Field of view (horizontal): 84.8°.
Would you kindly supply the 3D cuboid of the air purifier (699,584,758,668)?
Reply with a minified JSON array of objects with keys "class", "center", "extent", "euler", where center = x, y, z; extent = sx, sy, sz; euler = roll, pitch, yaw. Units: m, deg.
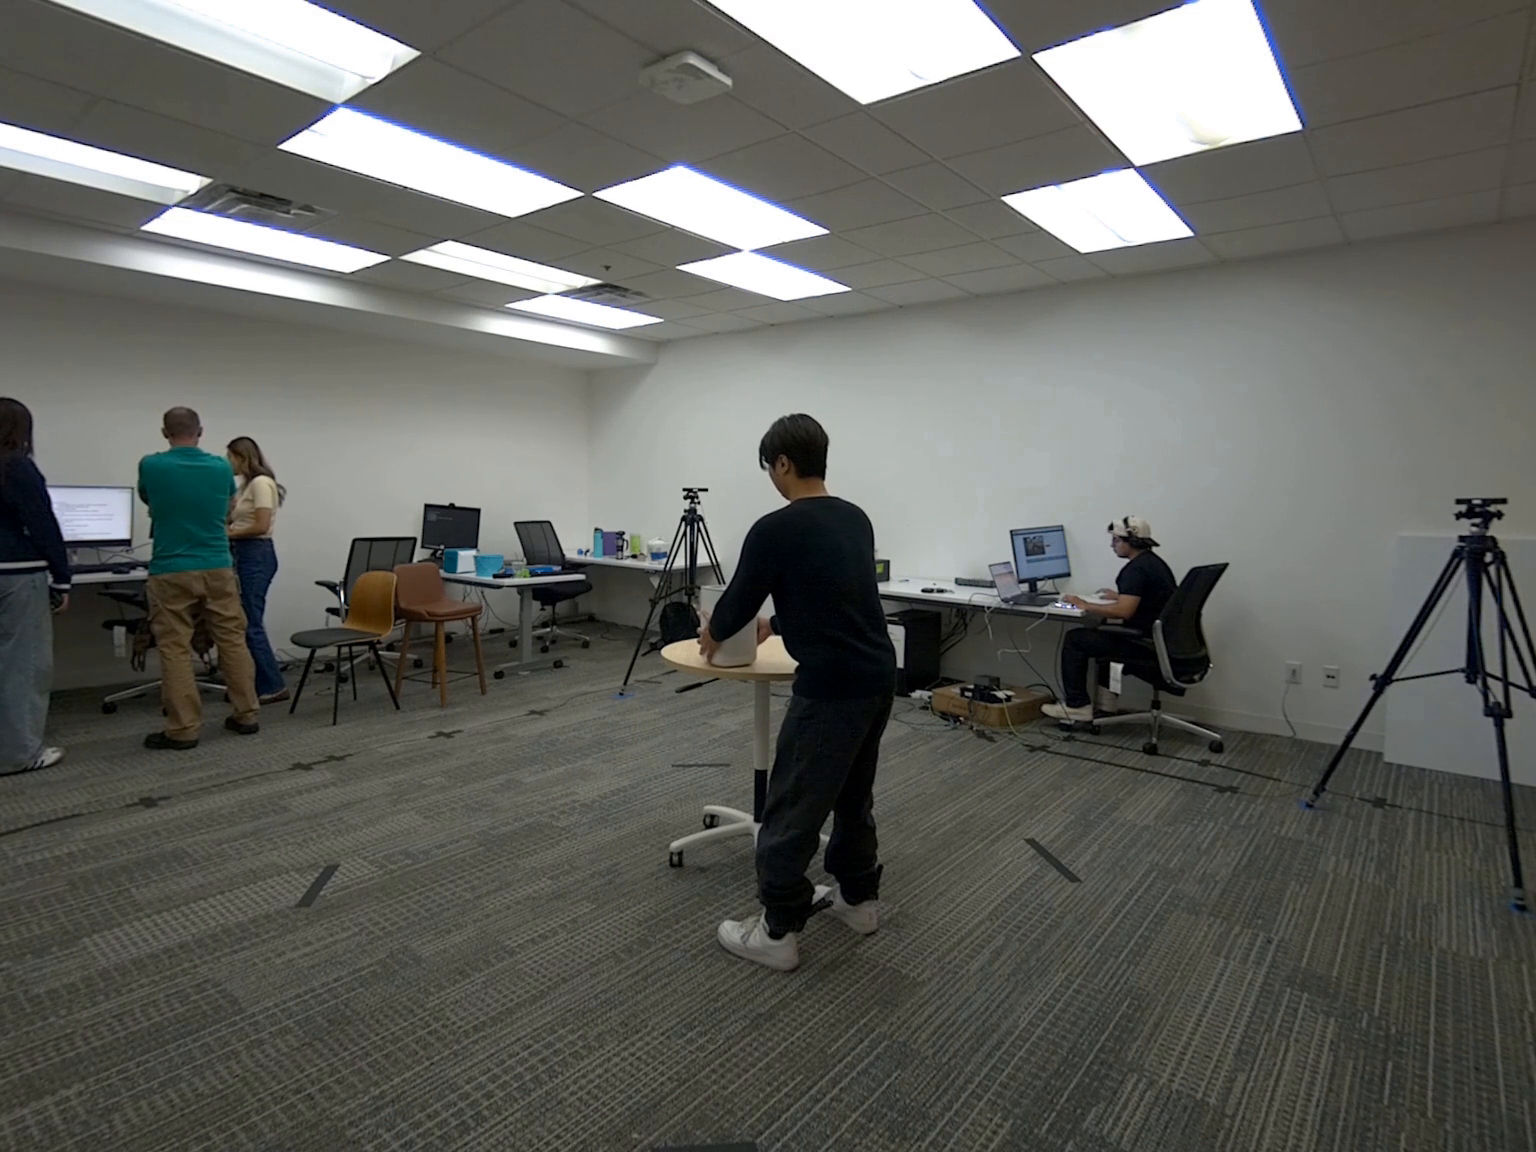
[{"class":"air purifier","center":[-0.142,0.167,2.958],"extent":[0.167,0.265,0.176],"euler":[-2,4,-35]}]
